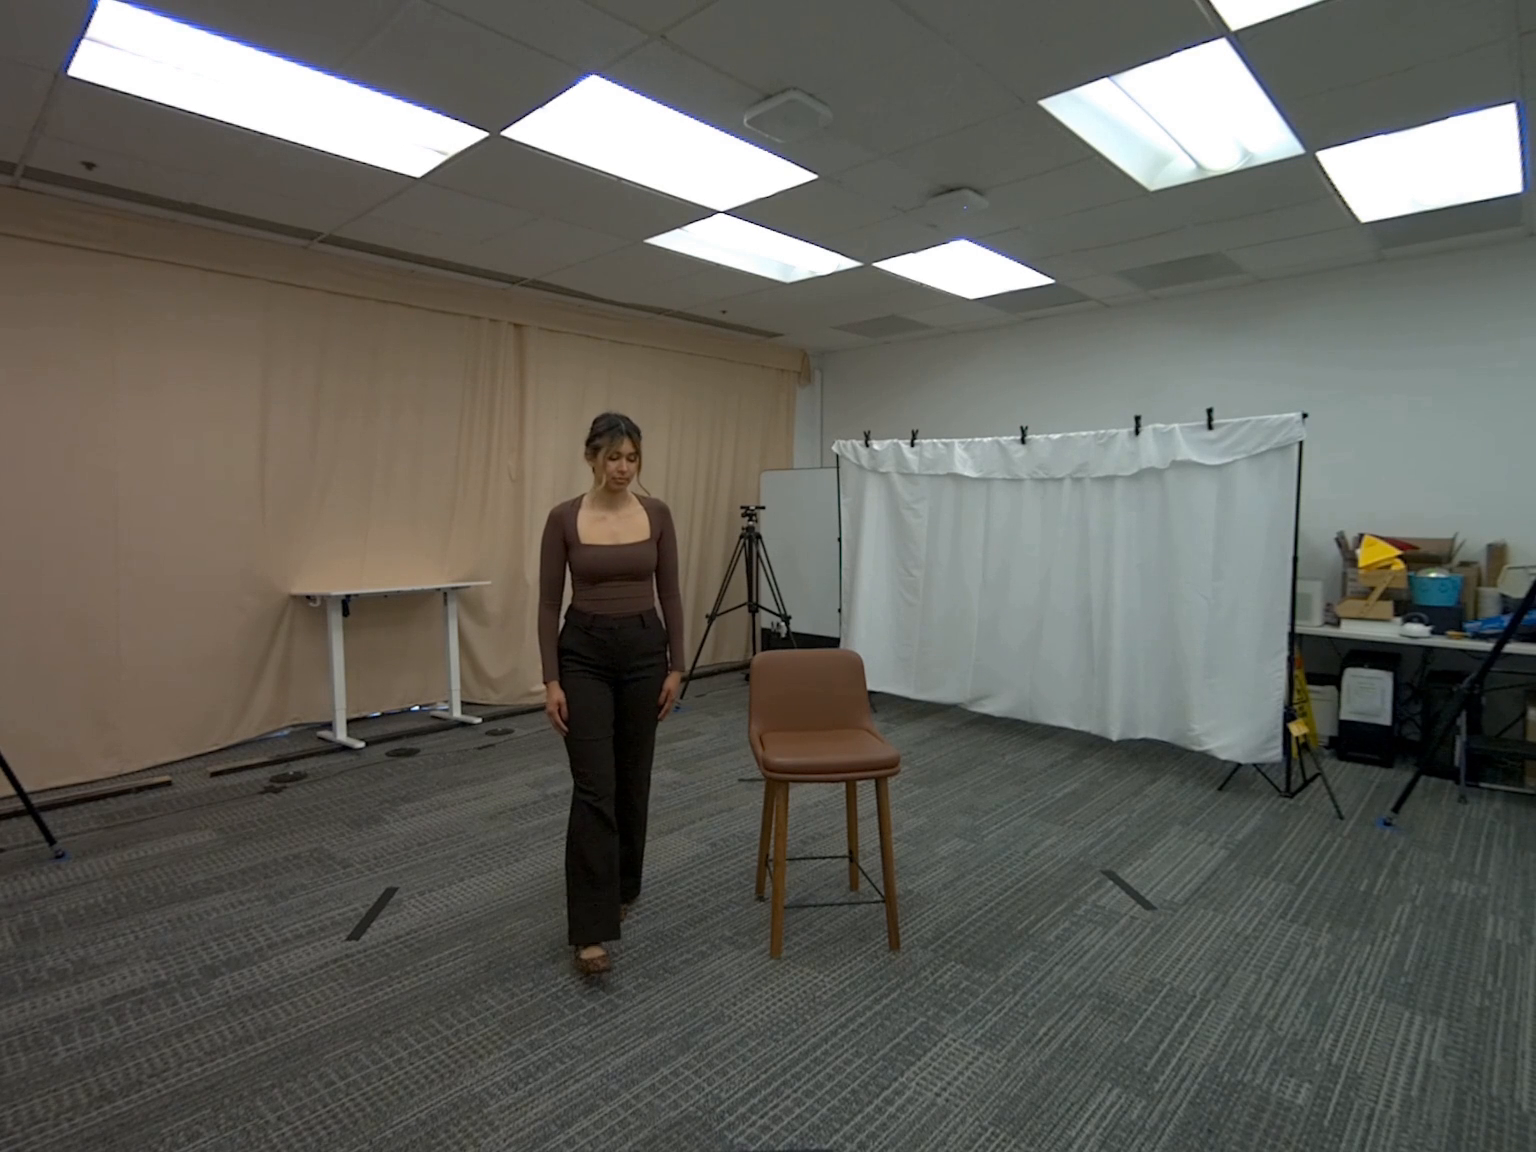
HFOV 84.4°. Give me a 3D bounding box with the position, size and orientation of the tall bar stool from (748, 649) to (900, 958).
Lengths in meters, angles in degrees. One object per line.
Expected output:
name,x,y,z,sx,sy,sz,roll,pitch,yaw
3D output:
tall bar stool,0.179,0.727,2.805,0.453,0.888,0.472,-1,2,-8
